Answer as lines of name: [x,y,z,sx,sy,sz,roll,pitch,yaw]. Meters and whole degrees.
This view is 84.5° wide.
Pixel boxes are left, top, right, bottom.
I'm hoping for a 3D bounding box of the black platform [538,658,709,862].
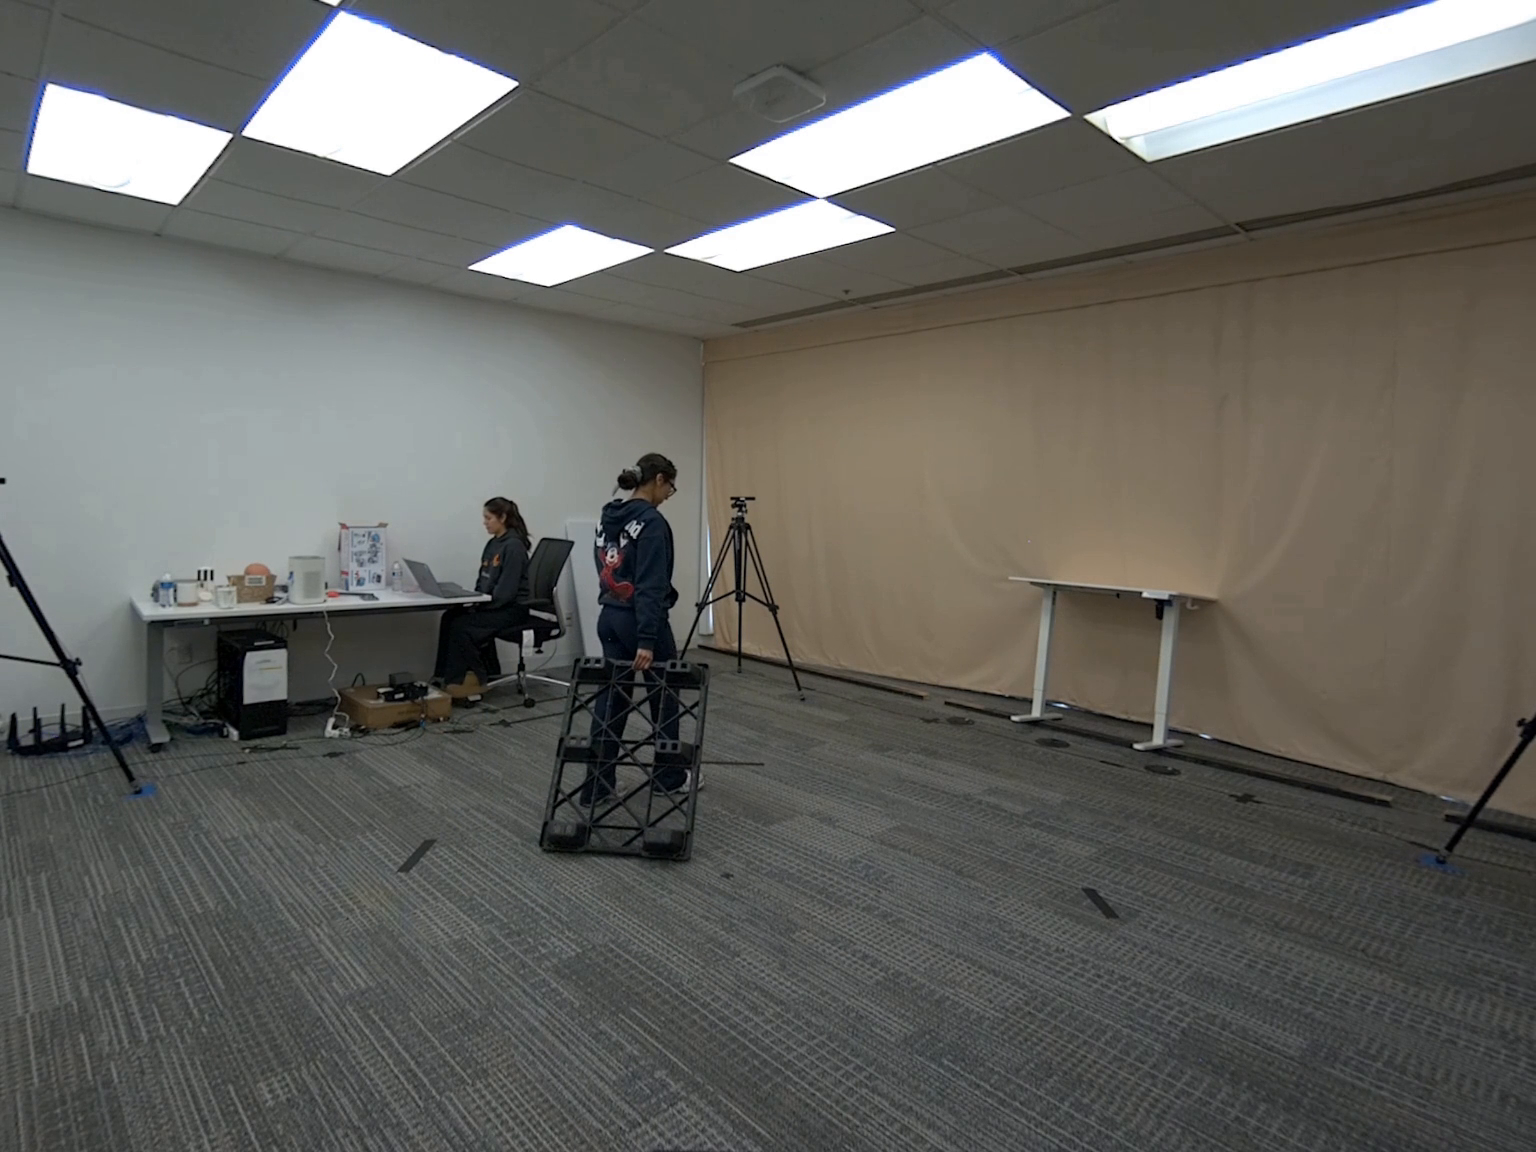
black platform: [-0.571,0.705,3.405,0.609,0.819,0.140,1,-30,7]
